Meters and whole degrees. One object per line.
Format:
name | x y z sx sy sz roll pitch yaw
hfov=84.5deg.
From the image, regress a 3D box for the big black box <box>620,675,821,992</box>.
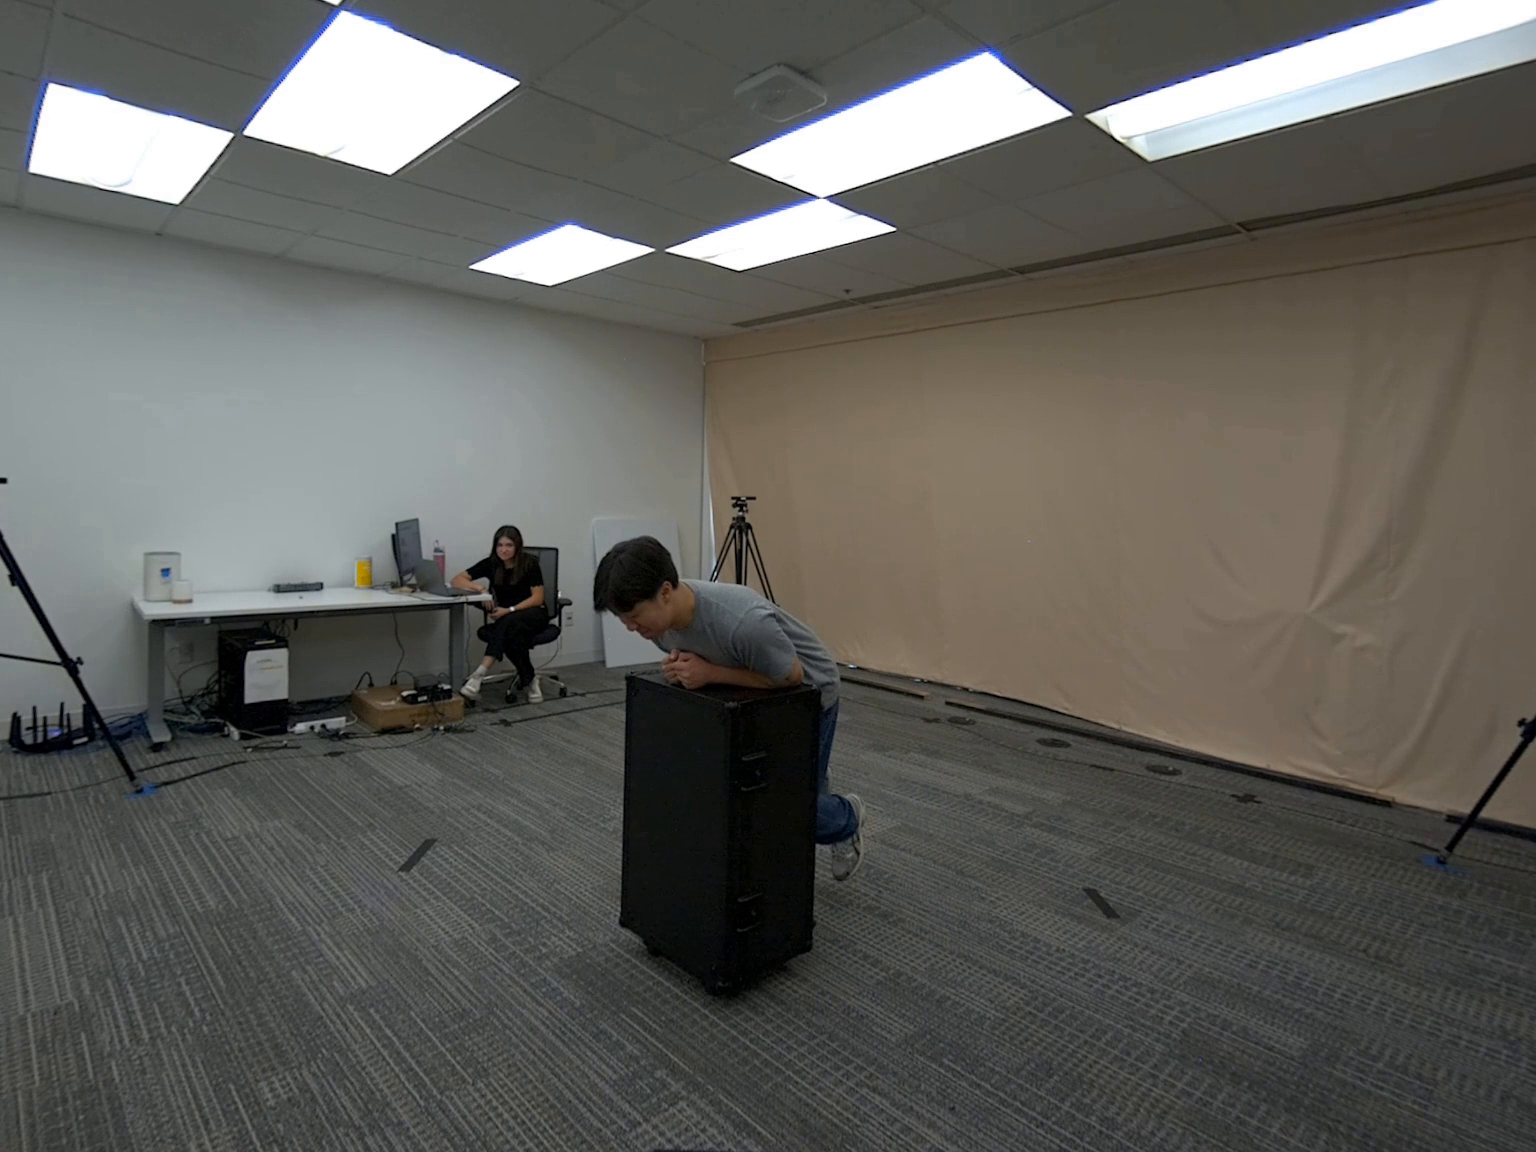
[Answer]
big black box | -0.151 0.733 2.518 0.387 0.860 0.534 0 3 -45
